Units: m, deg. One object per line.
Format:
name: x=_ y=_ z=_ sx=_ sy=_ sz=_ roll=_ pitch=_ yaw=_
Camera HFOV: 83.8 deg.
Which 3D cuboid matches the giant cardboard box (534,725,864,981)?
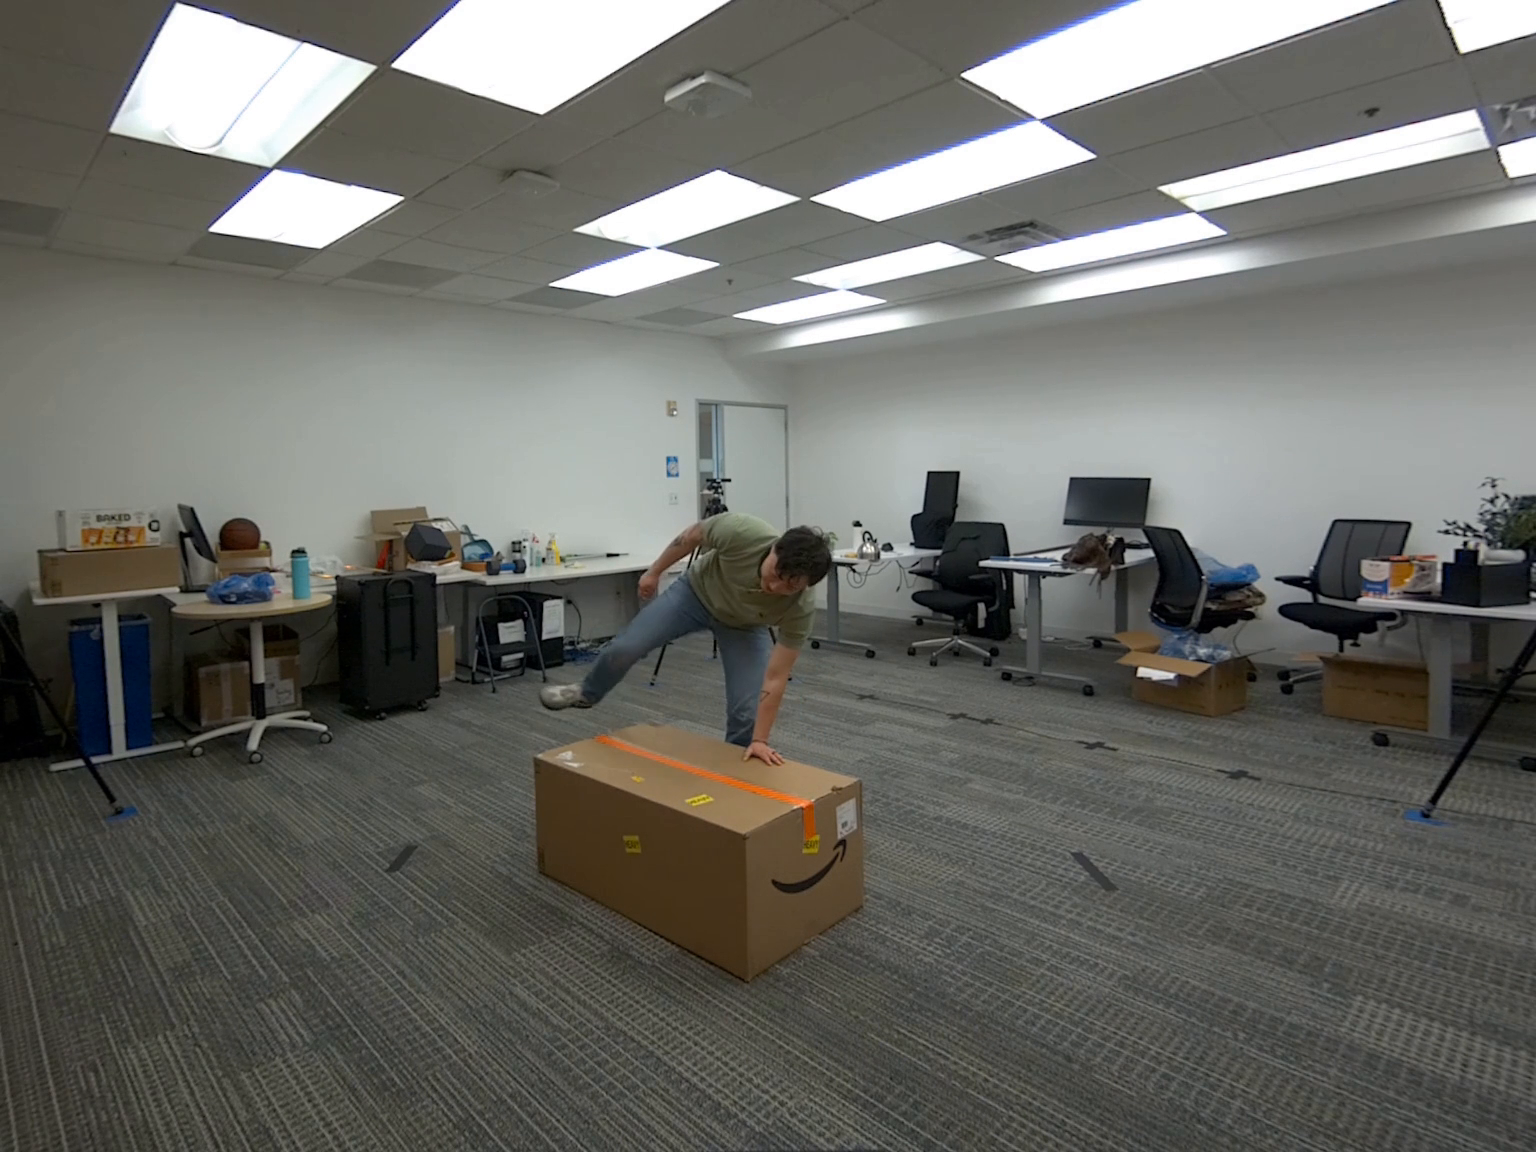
giant cardboard box: x=-0.261 y=0.859 z=2.916 sx=1.058 sy=0.424 sz=0.563 roll=5 pitch=8 yaw=42
